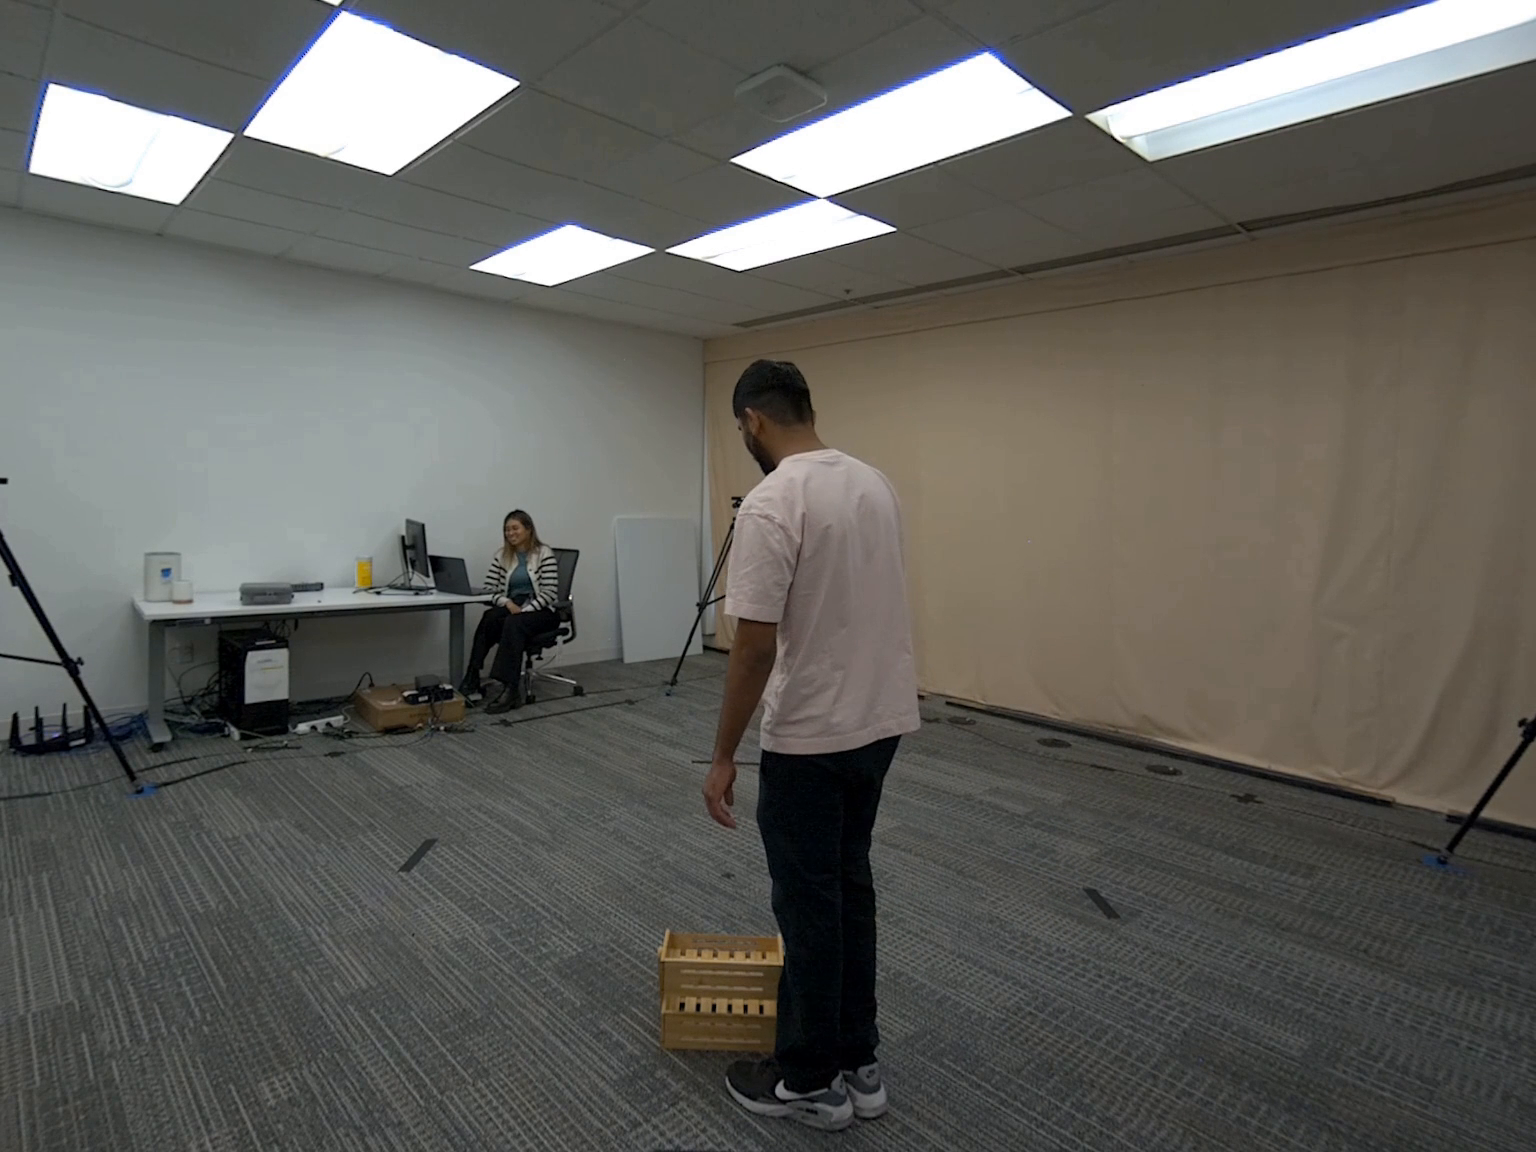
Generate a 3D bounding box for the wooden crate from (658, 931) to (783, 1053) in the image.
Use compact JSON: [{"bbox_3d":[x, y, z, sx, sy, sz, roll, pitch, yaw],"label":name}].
[{"bbox_3d":[-0.123,1.057,2.210,0.324,0.272,0.303,2,5,-1],"label":"wooden crate"}]
